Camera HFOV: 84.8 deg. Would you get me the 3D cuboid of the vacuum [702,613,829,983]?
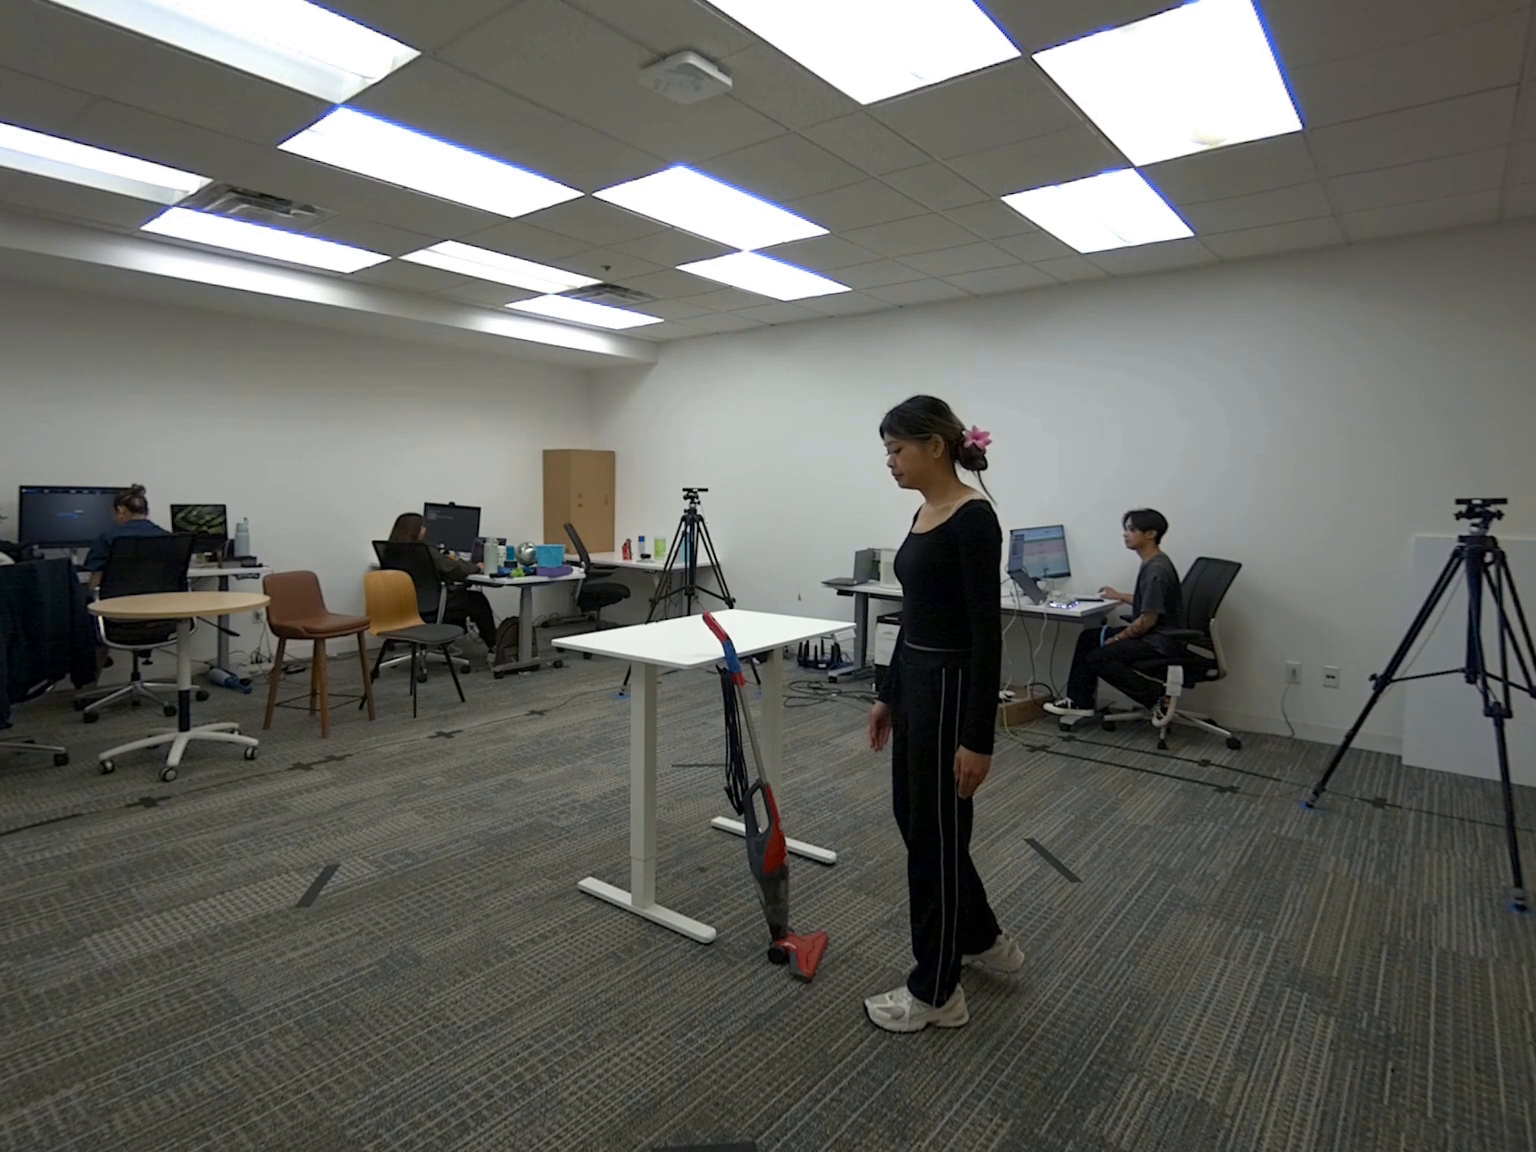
[{"bbox_3d":[-0.056,0.630,2.559,0.146,1.054,0.247,-17,-4,21],"label":"vacuum"}]
